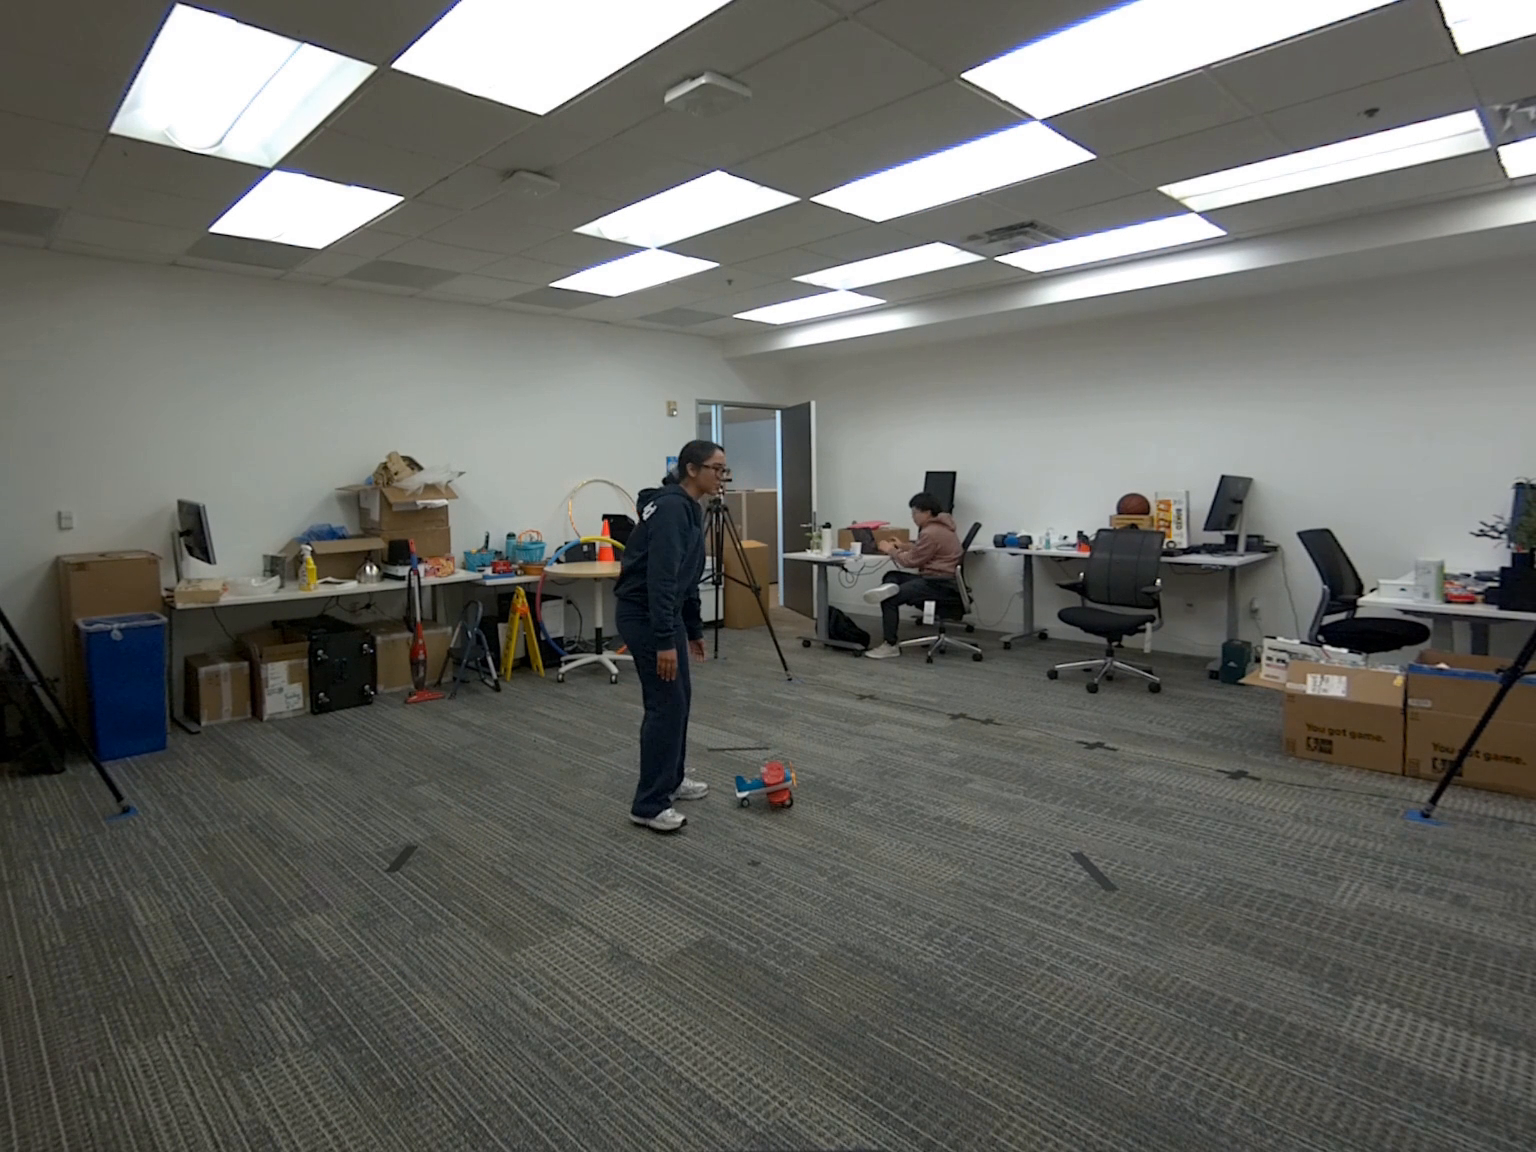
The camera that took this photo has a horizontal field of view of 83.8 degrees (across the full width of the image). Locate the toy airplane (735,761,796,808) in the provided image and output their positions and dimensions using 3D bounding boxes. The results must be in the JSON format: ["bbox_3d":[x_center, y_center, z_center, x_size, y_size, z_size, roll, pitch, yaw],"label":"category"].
[{"bbox_3d":[0.000,0.904,3.644,0.253,0.156,0.258,-2,5,-30],"label":"toy airplane"}]
